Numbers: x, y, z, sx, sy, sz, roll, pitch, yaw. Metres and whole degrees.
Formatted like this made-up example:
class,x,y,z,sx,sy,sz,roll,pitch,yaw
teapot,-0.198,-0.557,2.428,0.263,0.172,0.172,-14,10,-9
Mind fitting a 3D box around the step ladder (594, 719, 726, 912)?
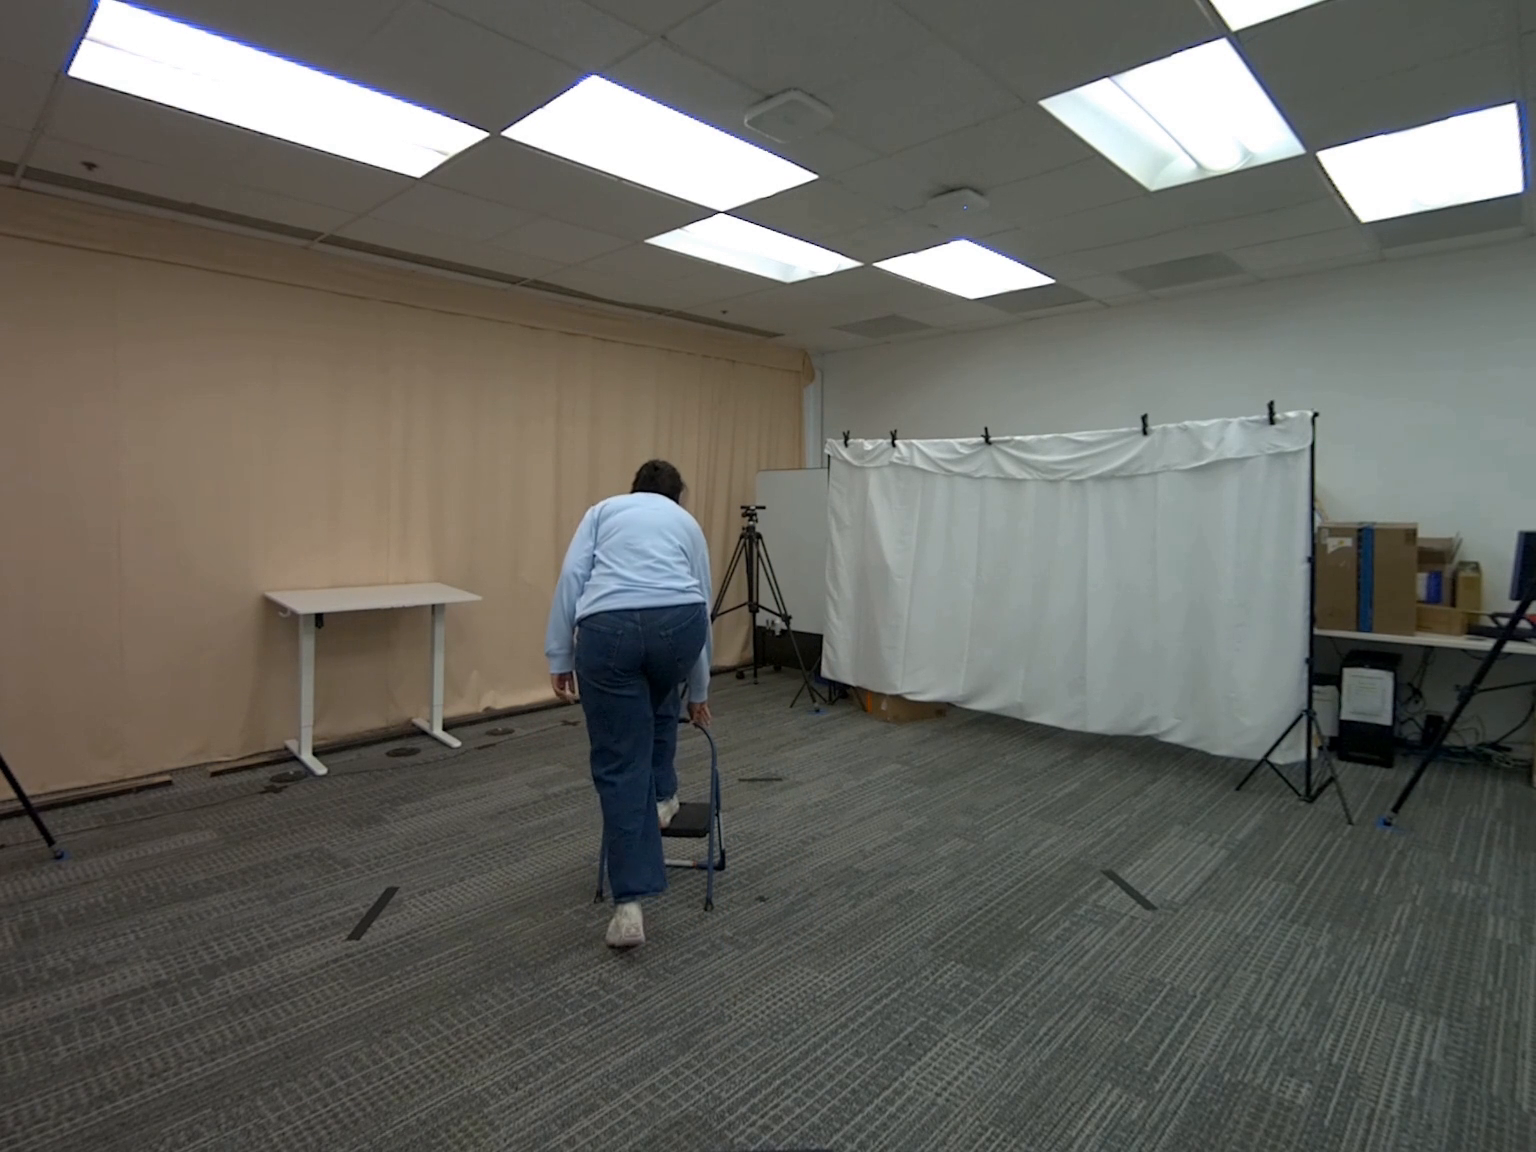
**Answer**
class,x,y,z,sx,sy,sz,roll,pitch,yaw
step ladder,-0.382,0.838,3.088,0.435,0.605,0.346,0,3,8
